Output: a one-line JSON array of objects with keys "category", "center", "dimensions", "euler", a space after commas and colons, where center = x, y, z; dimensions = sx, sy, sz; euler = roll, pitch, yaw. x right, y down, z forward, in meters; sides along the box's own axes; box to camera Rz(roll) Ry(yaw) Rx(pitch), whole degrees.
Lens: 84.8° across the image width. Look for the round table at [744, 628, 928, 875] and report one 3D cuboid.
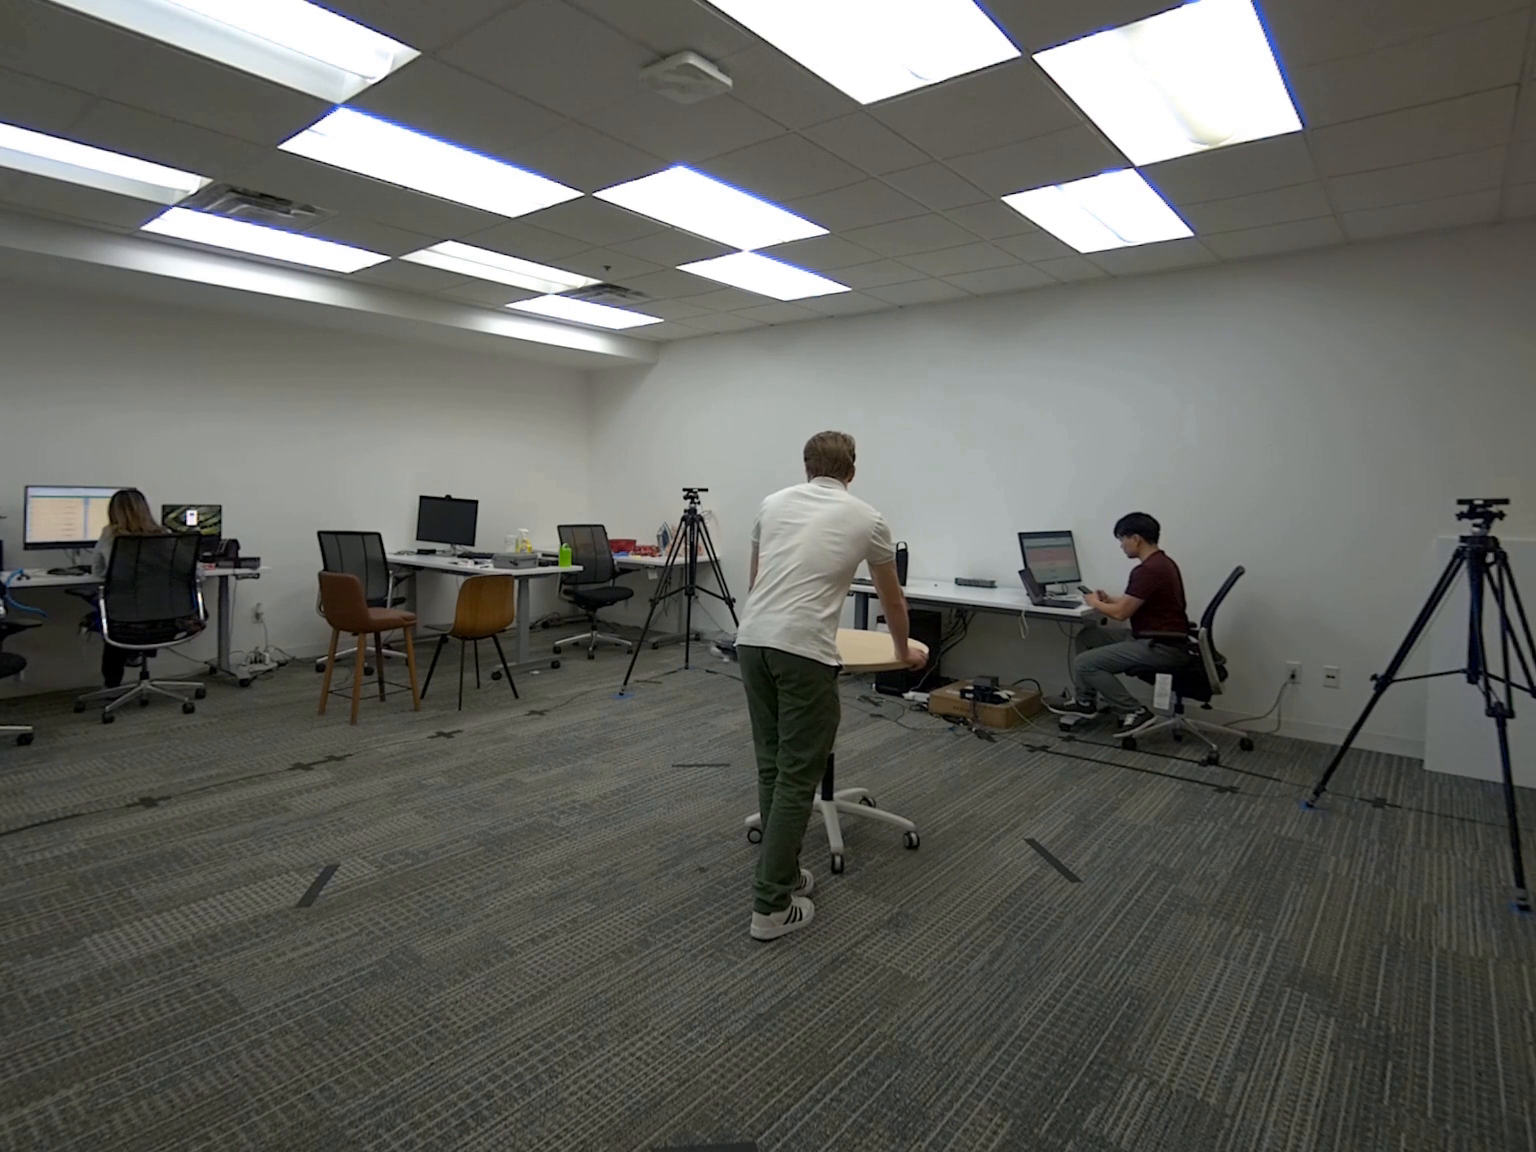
[{"category": "round table", "center": [0.240, 0.660, 3.451], "dimensions": [0.763, 0.791, 0.768], "euler": [1, 4, -2]}]
